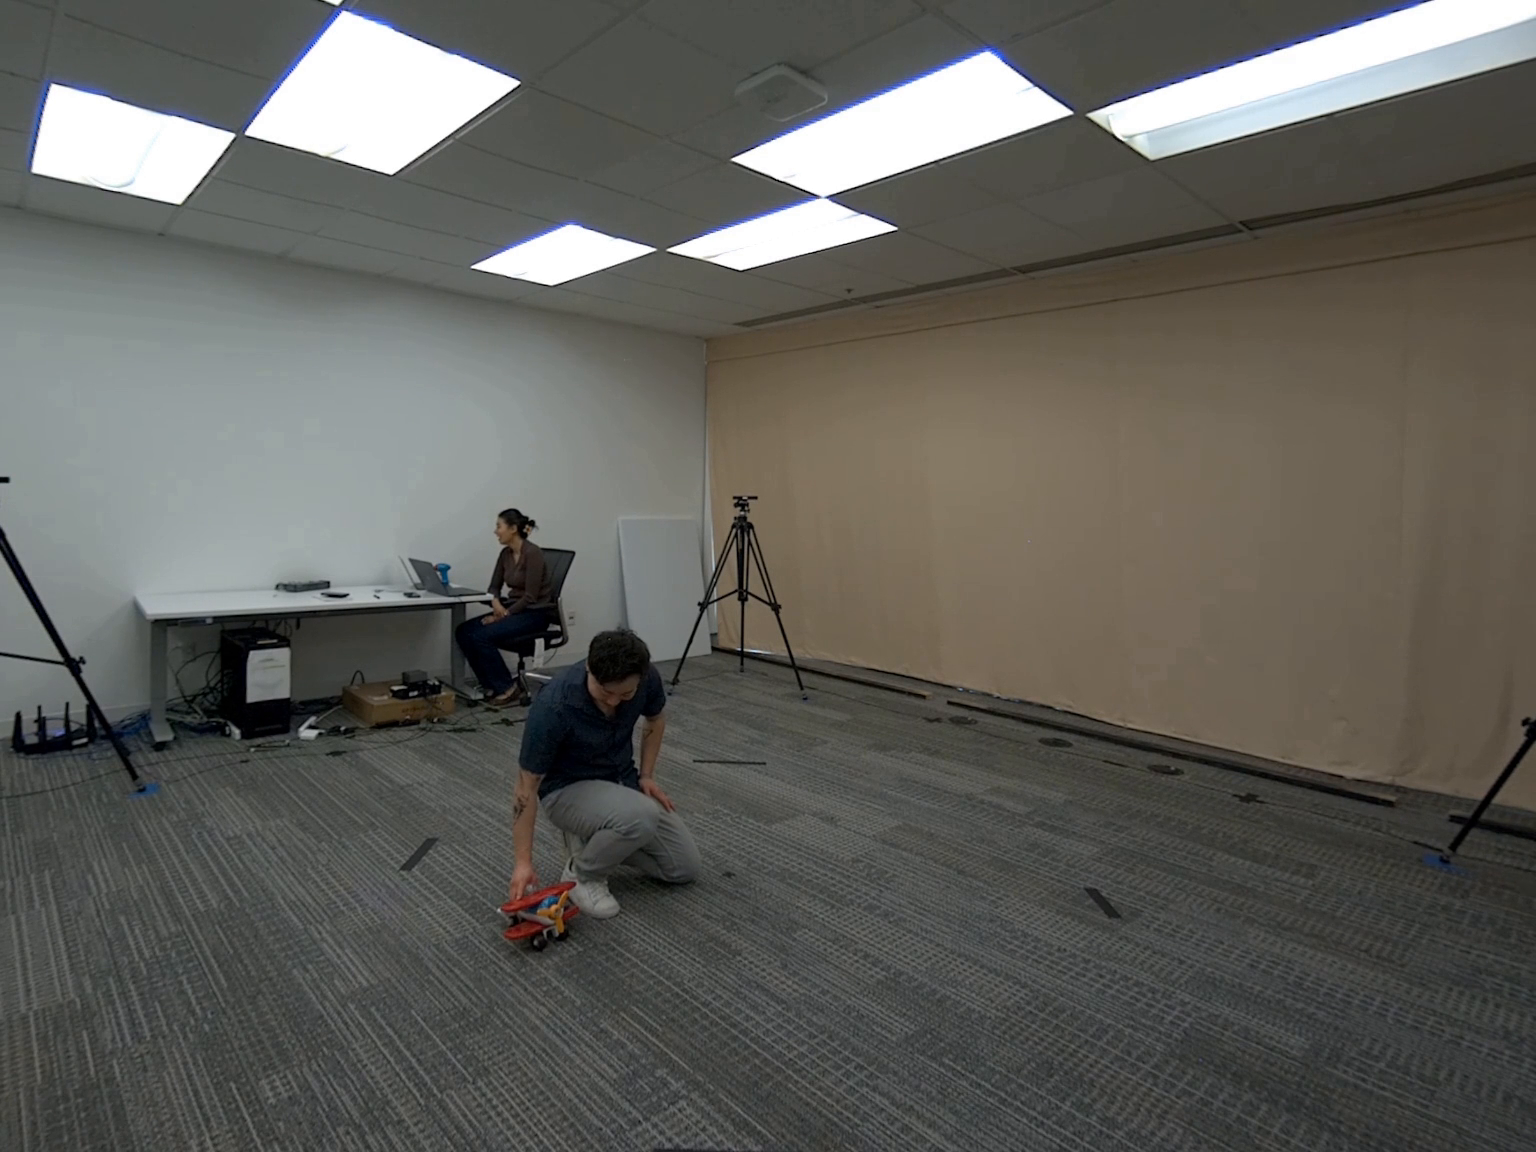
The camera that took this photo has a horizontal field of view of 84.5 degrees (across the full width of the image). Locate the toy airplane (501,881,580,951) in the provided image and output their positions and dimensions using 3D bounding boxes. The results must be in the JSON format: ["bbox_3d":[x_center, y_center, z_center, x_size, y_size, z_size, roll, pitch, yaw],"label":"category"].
[{"bbox_3d":[-0.762,1.065,2.628,0.262,0.156,0.249,2,6,15],"label":"toy airplane"}]
